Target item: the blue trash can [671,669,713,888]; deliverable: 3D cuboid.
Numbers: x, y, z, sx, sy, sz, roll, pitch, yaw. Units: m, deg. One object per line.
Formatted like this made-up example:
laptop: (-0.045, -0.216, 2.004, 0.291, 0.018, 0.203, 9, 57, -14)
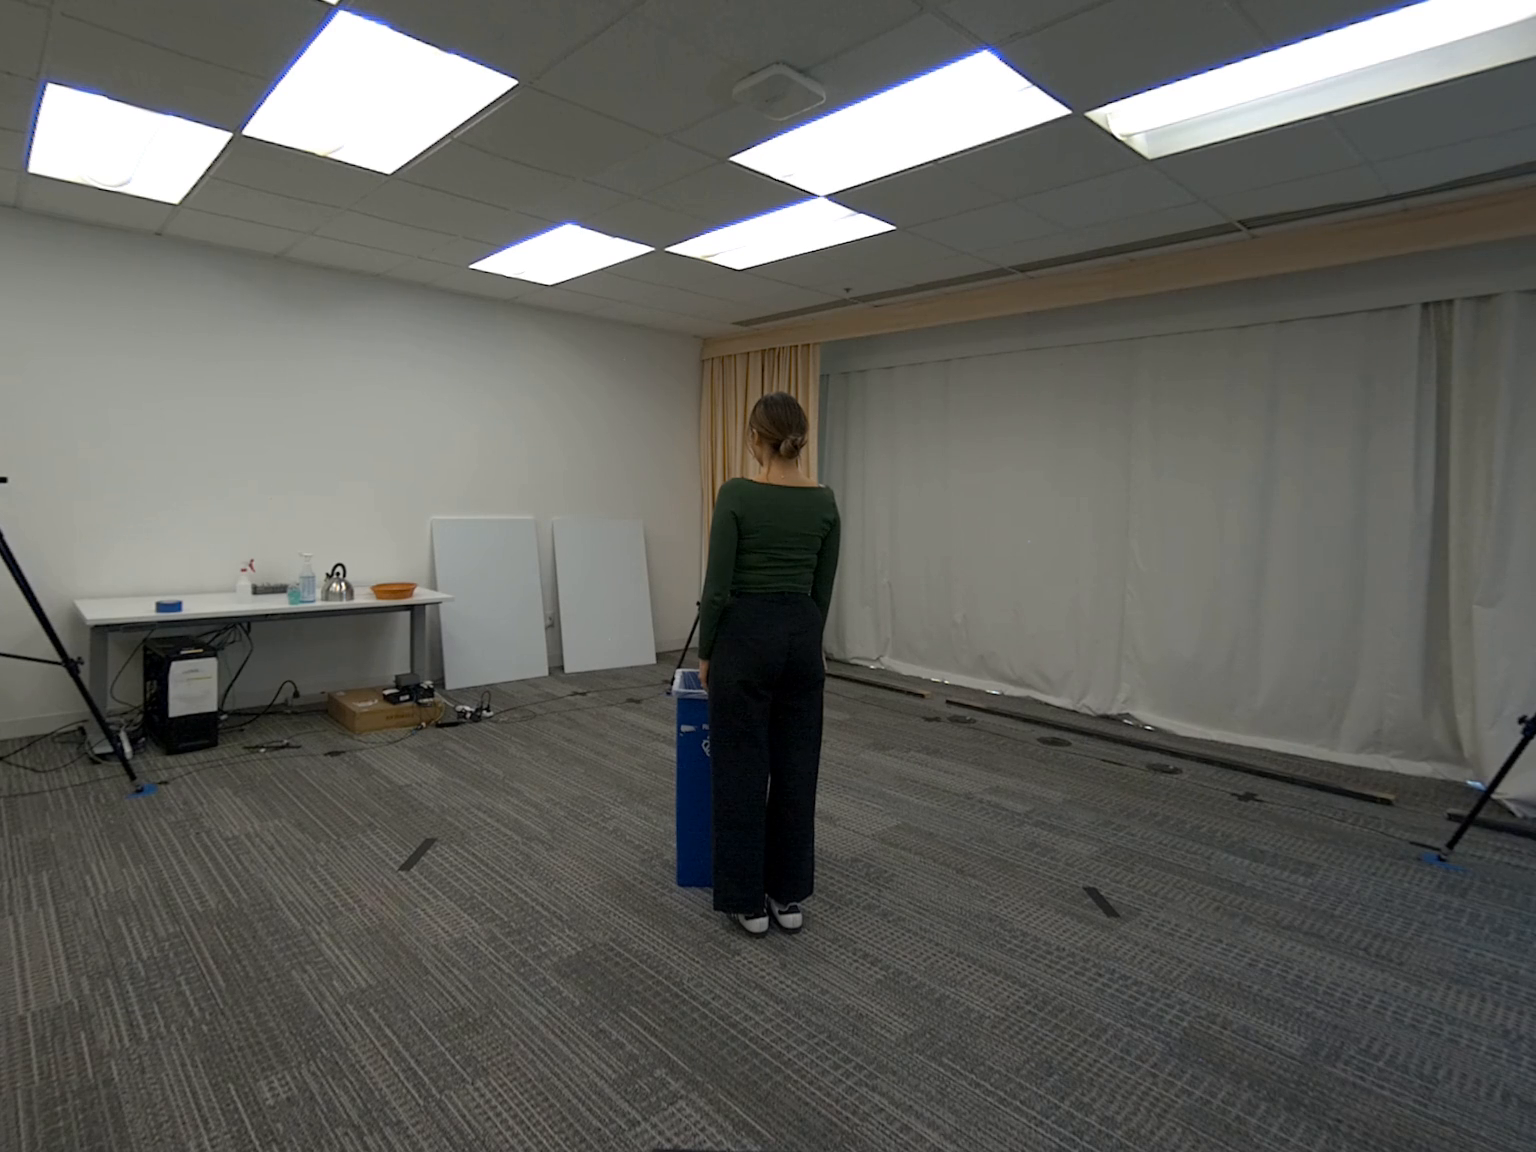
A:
blue trash can: (-0.184, 0.741, 3.131, 0.377, 0.711, 0.376, 2, 4, -3)
